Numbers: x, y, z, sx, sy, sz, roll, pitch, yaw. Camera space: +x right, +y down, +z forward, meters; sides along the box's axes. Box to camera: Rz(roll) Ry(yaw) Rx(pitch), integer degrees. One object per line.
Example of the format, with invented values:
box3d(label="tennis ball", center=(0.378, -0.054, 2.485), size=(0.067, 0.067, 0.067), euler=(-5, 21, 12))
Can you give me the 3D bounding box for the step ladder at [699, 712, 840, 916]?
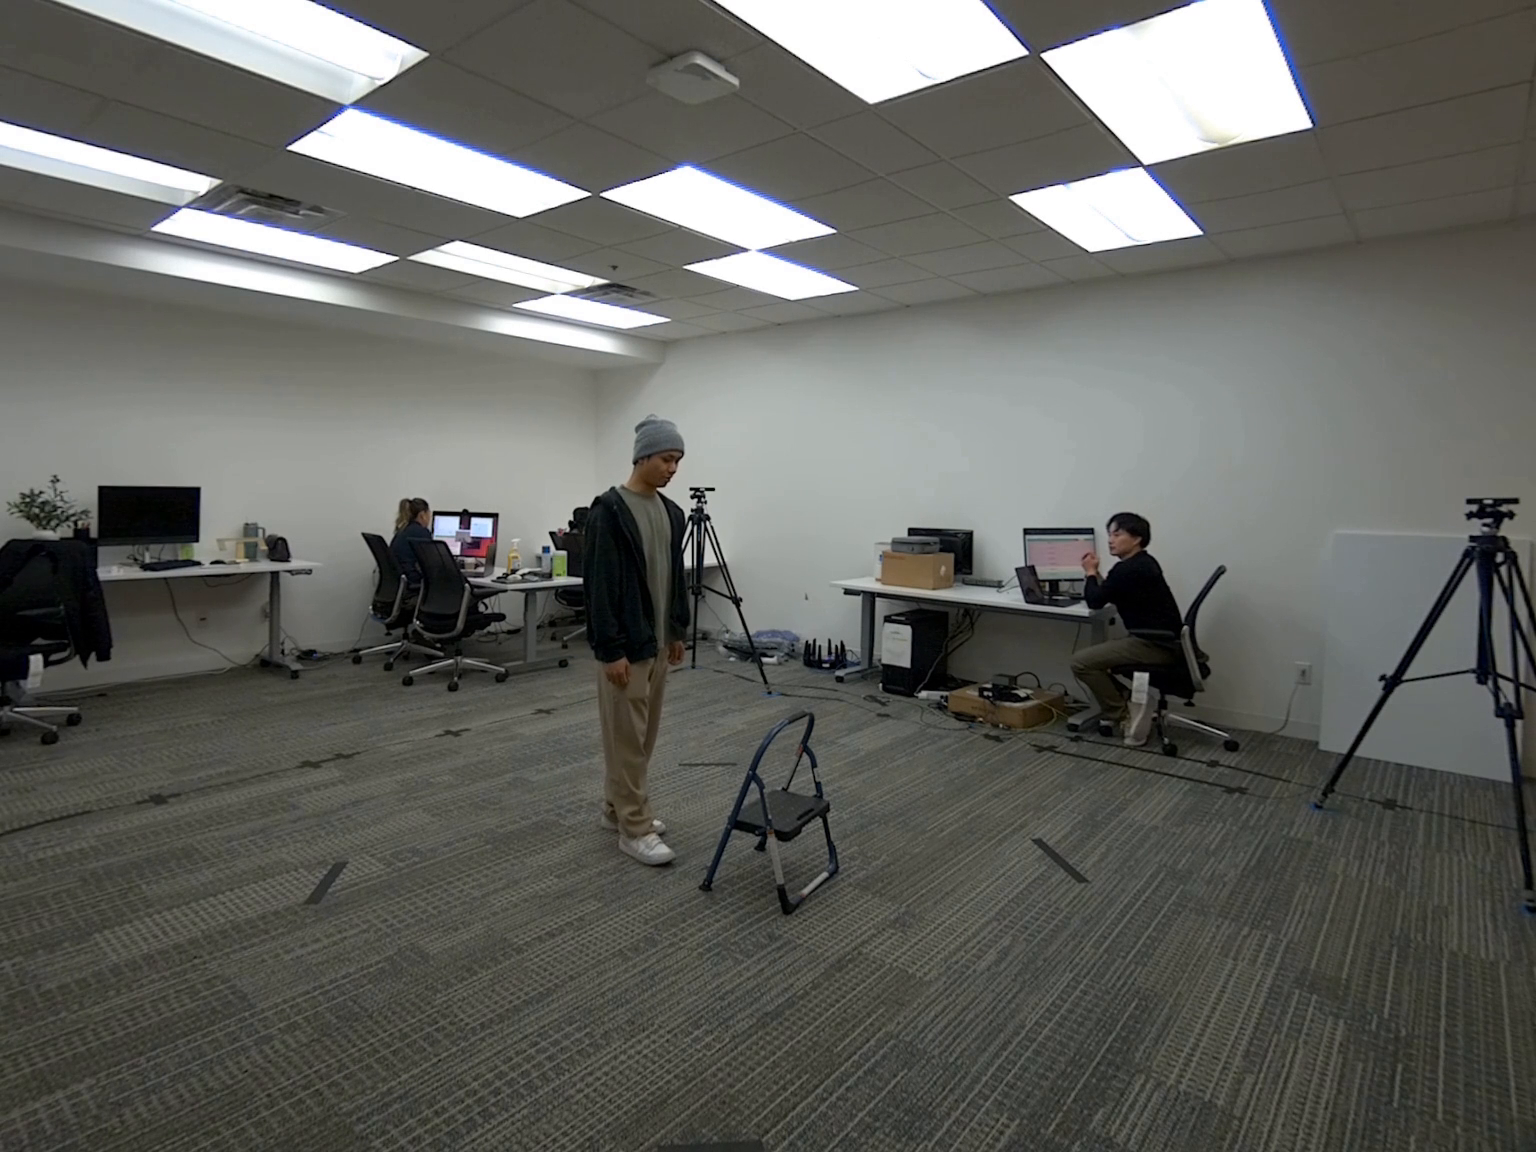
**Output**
box3d(label="step ladder", center=(0.012, 0.776, 3.017), size=(0.359, 0.604, 0.420), euler=(3, 4, 29))
